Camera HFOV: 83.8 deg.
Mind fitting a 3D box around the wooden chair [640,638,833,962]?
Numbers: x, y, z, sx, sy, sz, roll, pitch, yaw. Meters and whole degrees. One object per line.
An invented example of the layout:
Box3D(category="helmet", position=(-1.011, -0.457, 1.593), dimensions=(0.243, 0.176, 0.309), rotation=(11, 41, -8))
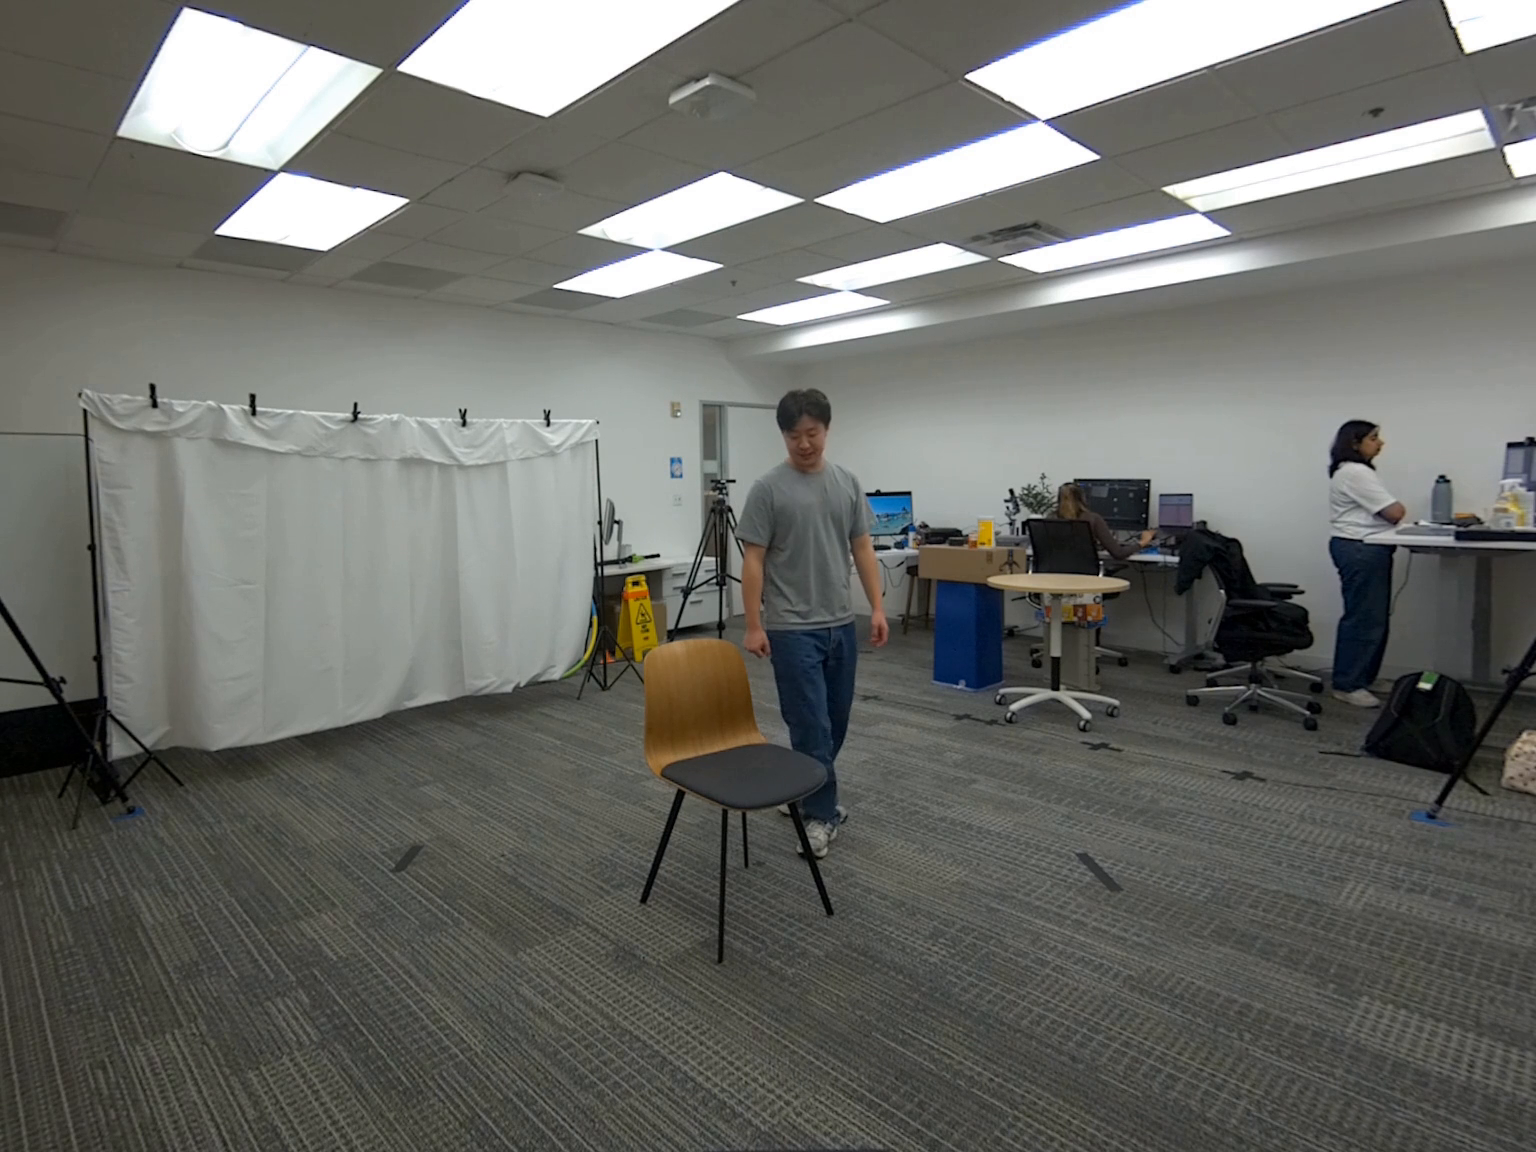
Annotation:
Box3D(category="wooden chair", position=(-0.109, 0.665, 2.740), dimensions=(0.466, 0.877, 0.537), rotation=(-4, 1, -38))
